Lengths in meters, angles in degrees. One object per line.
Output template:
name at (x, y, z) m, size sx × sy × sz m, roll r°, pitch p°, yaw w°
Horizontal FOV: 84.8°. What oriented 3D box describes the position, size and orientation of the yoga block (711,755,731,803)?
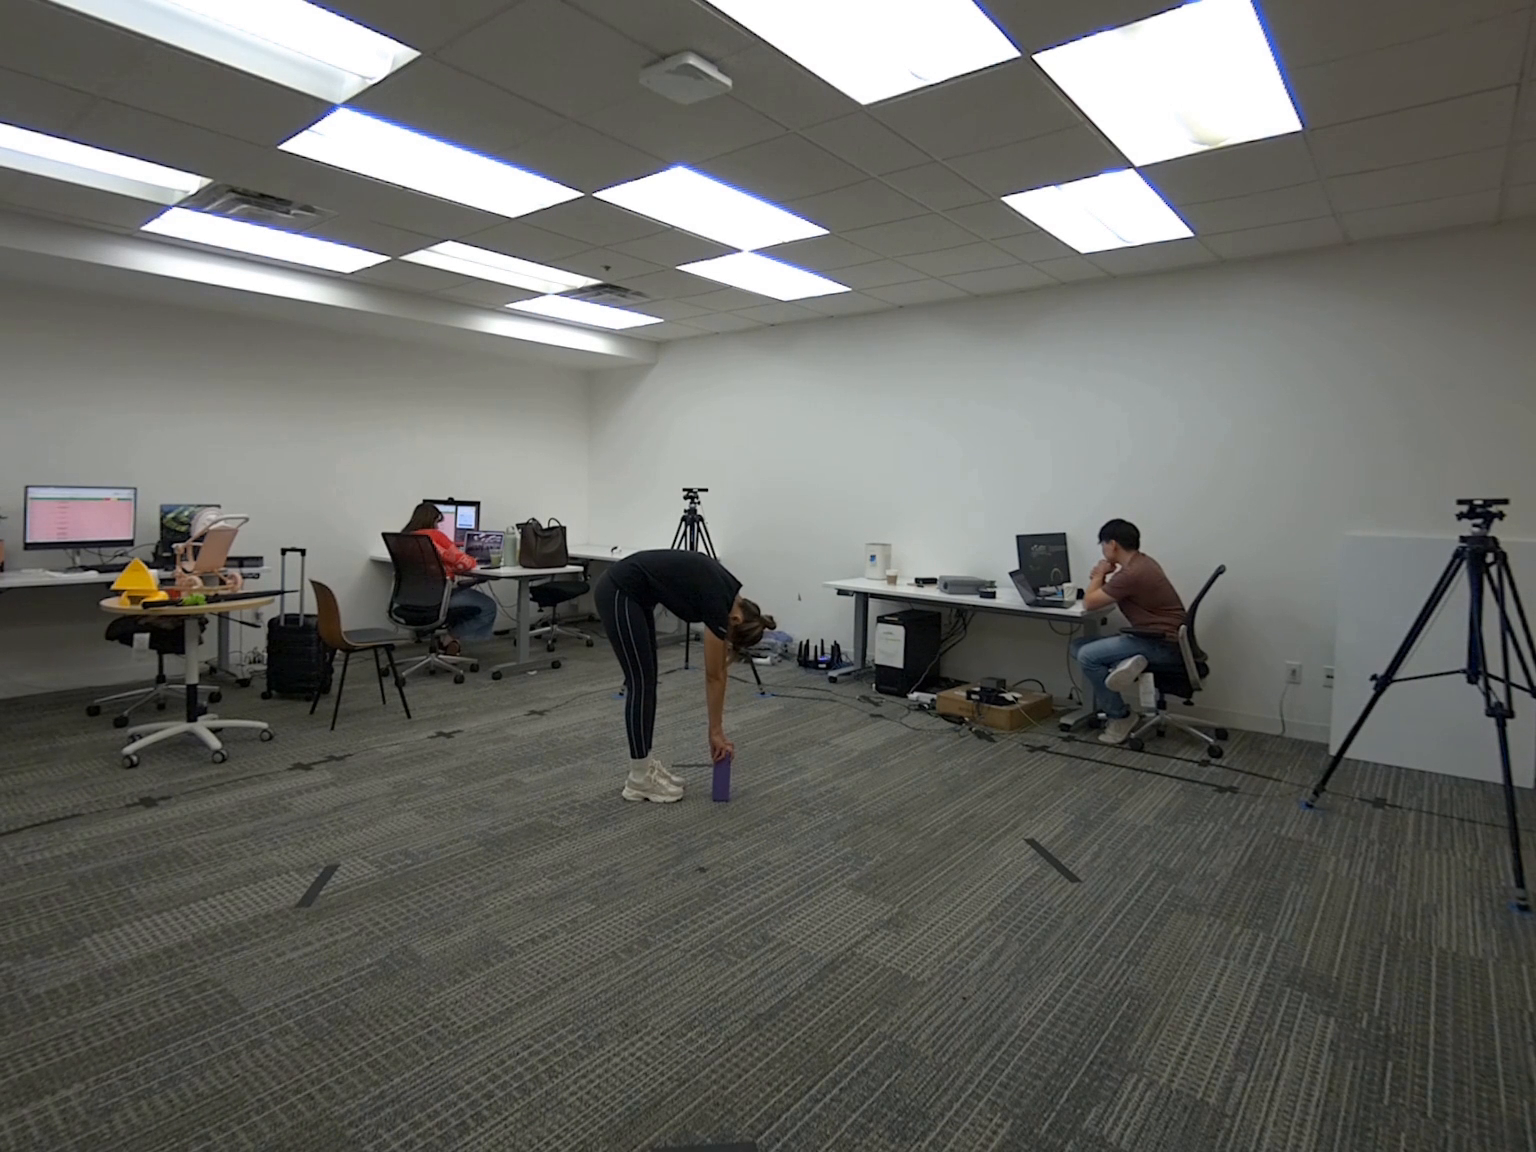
yoga block at (-0.219, 0.890, 3.857) m, size 0.076 × 0.228 × 0.150 m, roll 0°, pitch 5°, yaw -4°
